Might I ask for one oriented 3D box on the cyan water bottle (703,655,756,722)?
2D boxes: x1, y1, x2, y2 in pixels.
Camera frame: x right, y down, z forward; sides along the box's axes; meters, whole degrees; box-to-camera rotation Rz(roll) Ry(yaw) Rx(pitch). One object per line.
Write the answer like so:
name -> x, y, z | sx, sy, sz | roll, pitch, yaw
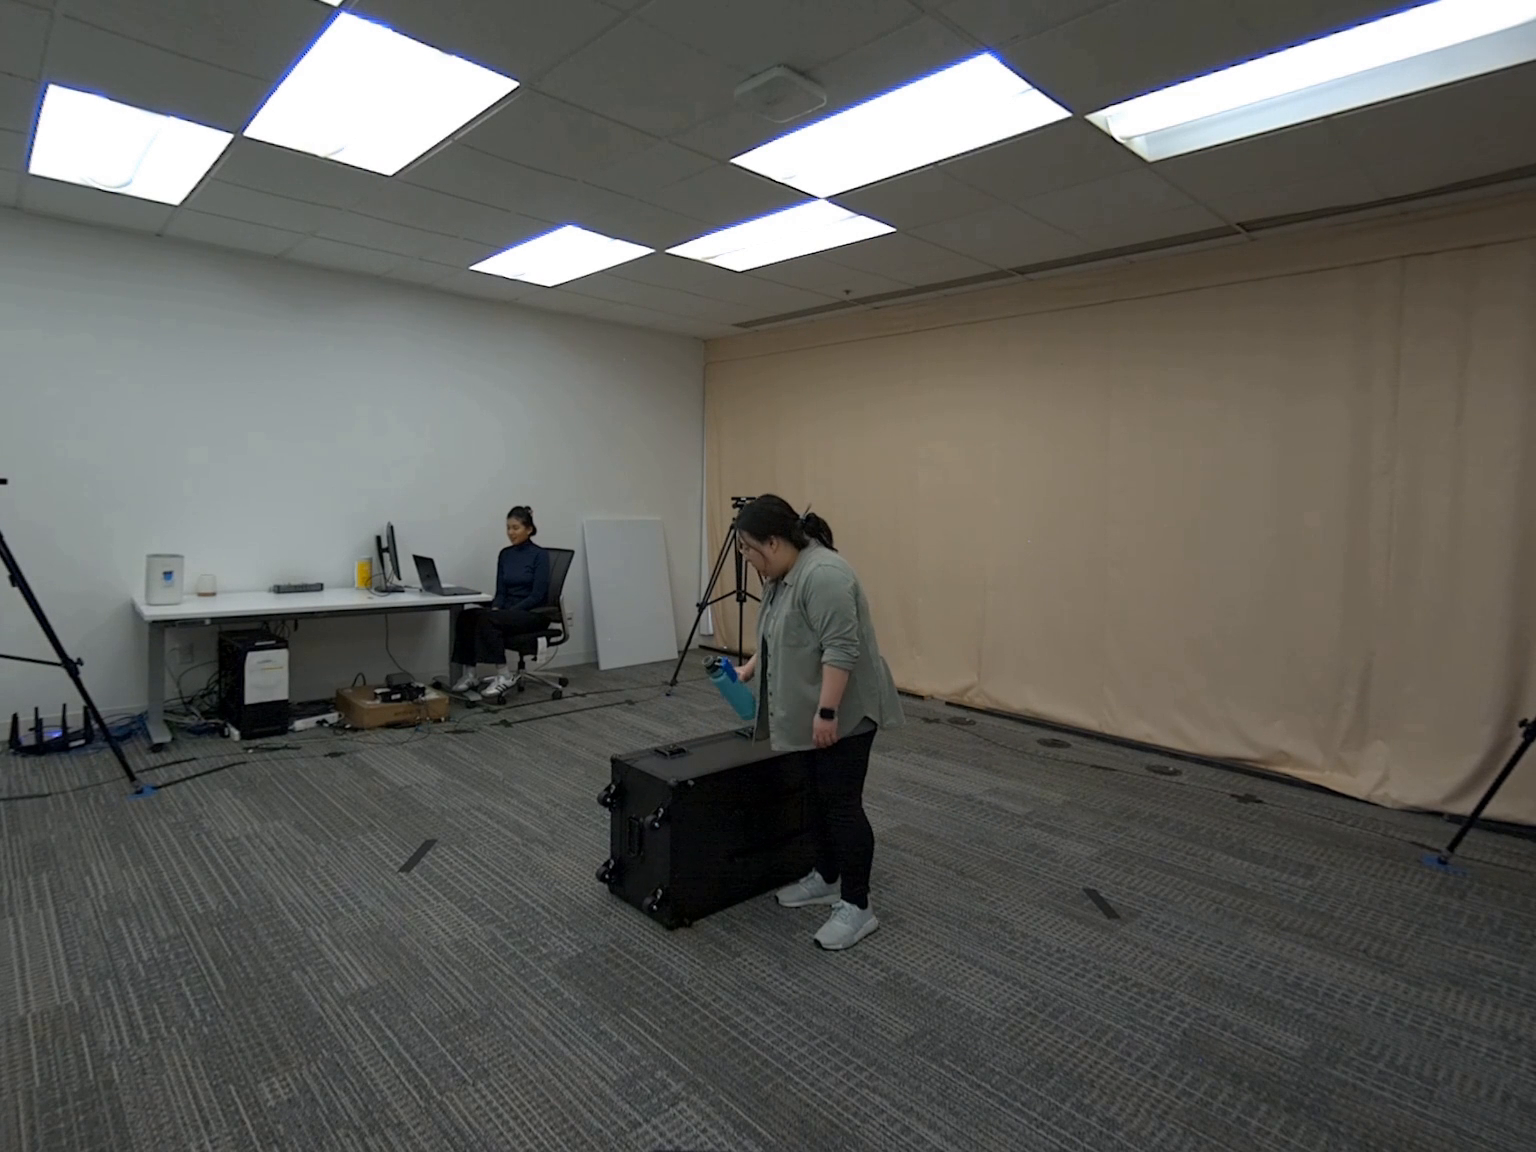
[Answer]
cyan water bottle -> -0.129, 0.385, 2.936 | 0.093, 0.276, 0.094 | -25, 29, 15
